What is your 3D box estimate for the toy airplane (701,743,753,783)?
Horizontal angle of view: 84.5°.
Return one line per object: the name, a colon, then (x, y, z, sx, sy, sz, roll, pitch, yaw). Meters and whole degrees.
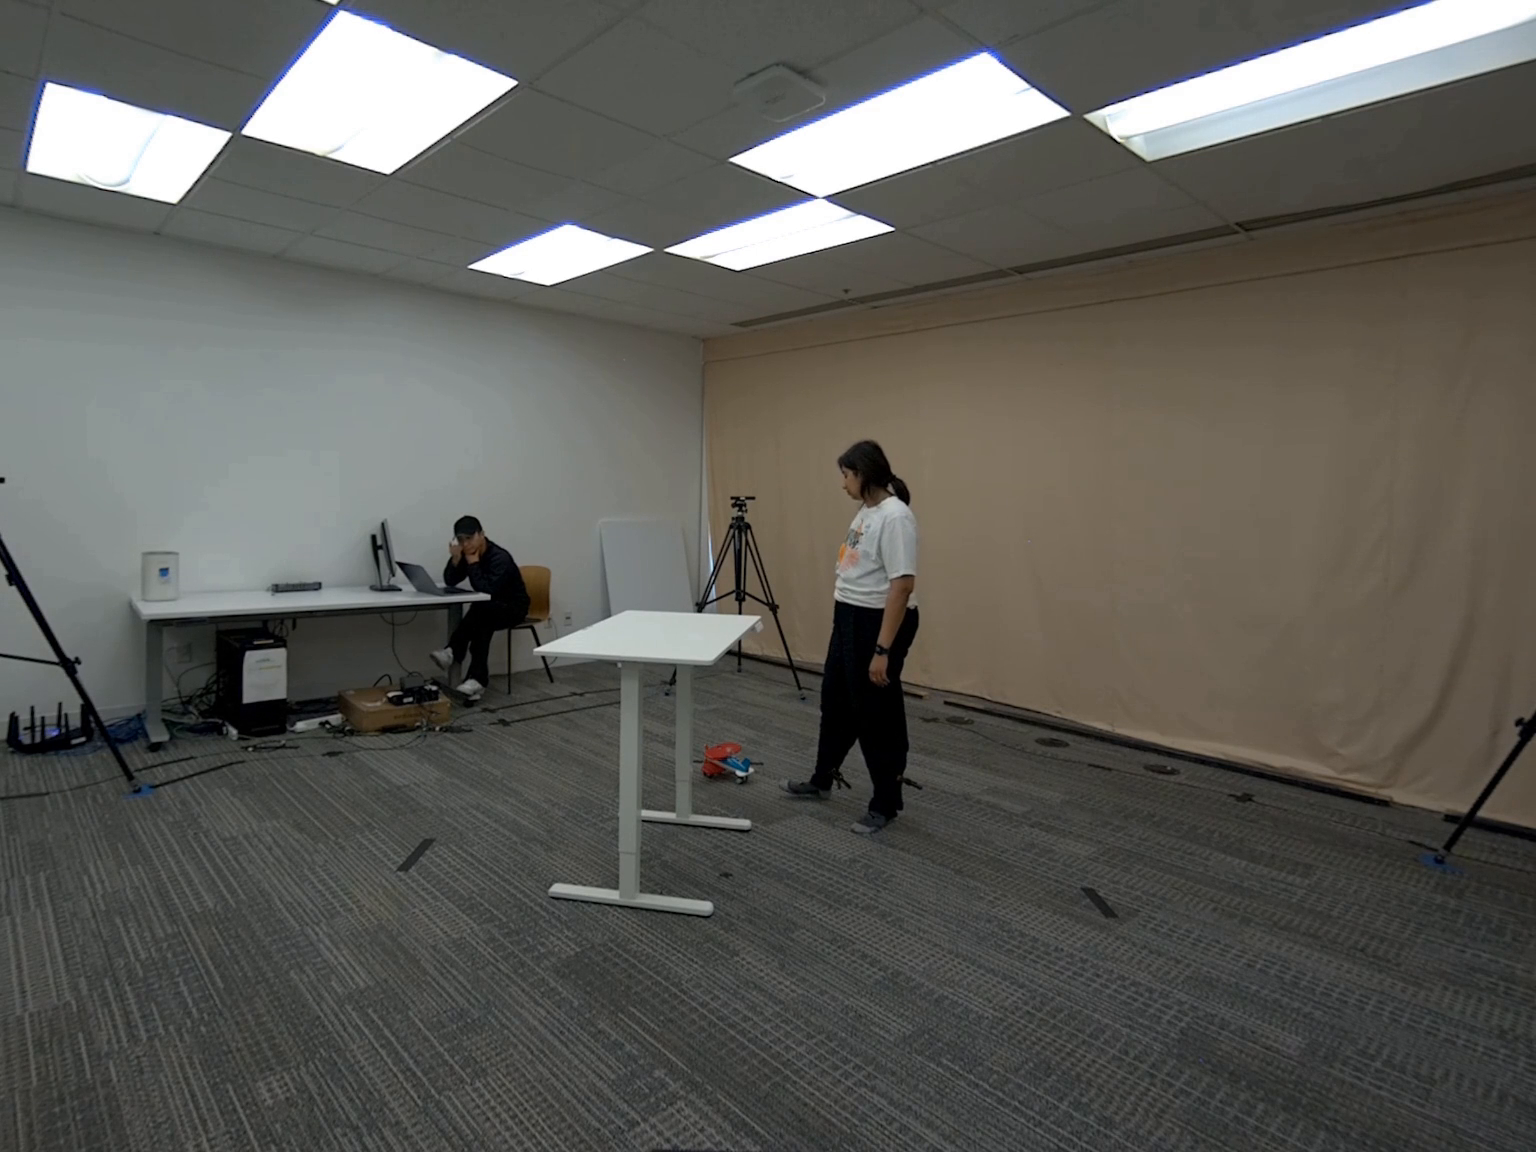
toy airplane: (-0.213, 0.936, 4.216, 0.261, 0.156, 0.250, 2, 3, 7)
